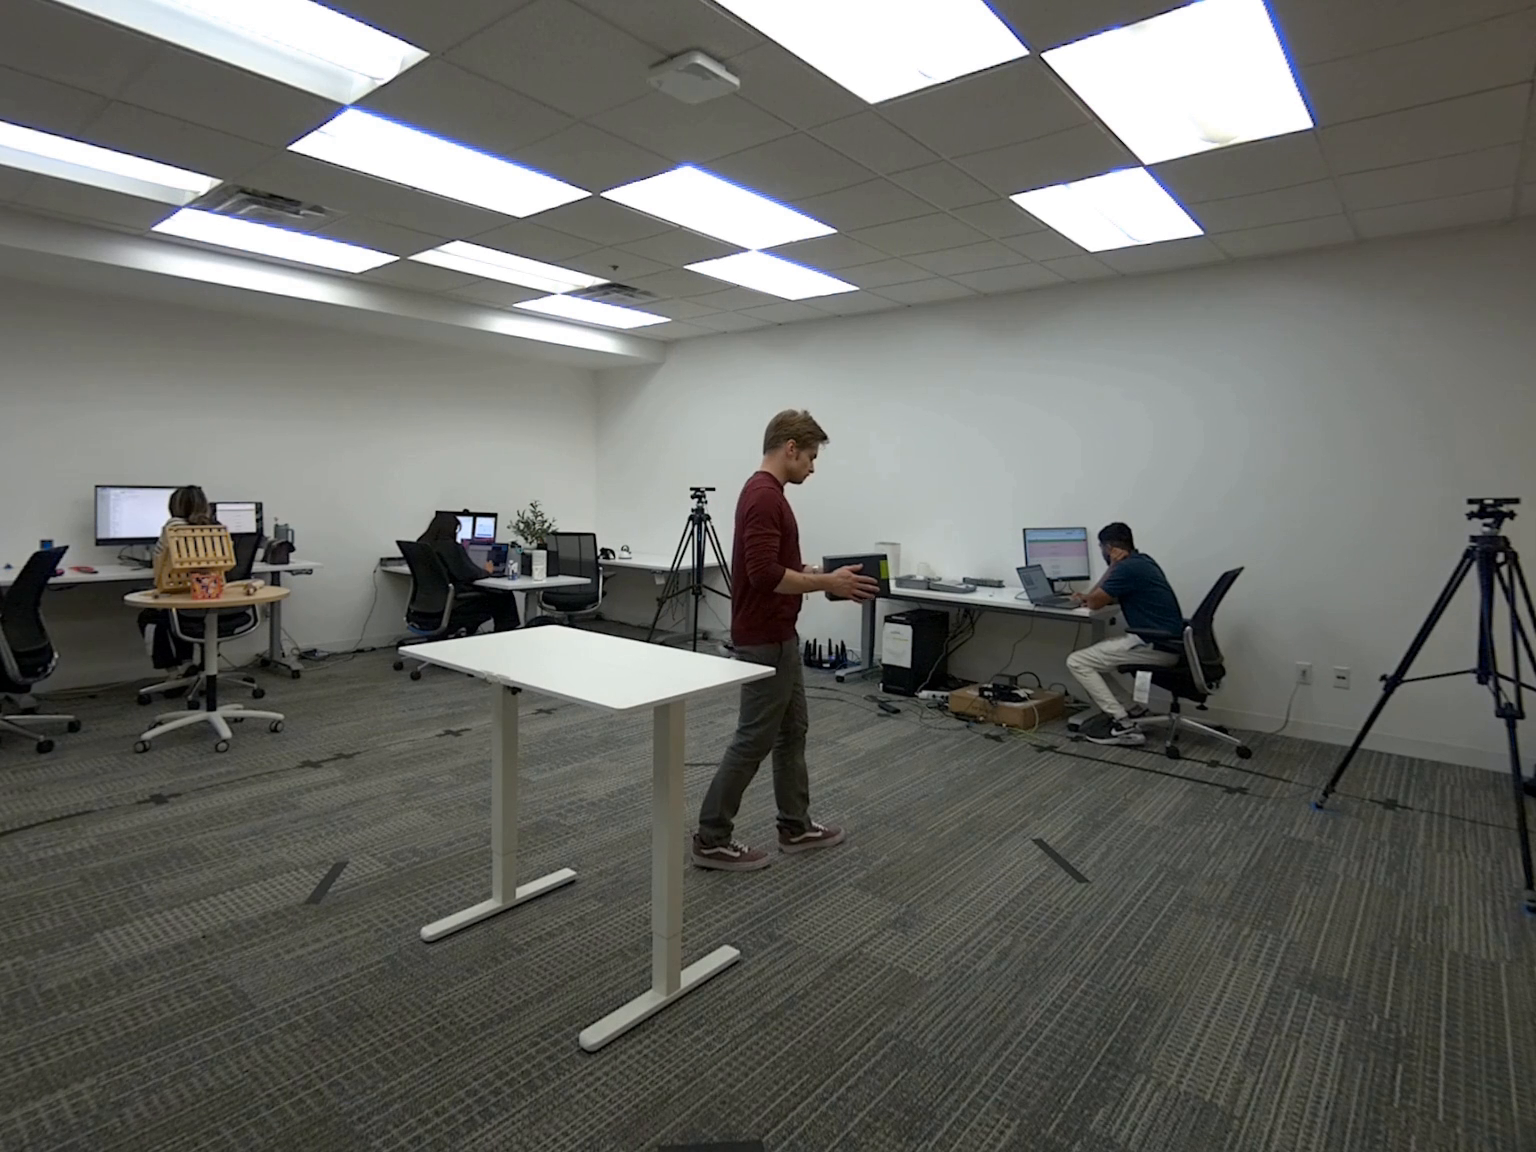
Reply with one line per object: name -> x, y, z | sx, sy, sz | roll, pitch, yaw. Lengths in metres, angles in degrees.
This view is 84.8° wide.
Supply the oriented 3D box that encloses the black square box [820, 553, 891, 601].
black square box -> 0.315, -0.003, 3.134 | 0.217, 0.156, 0.228 | -4, 2, 1
